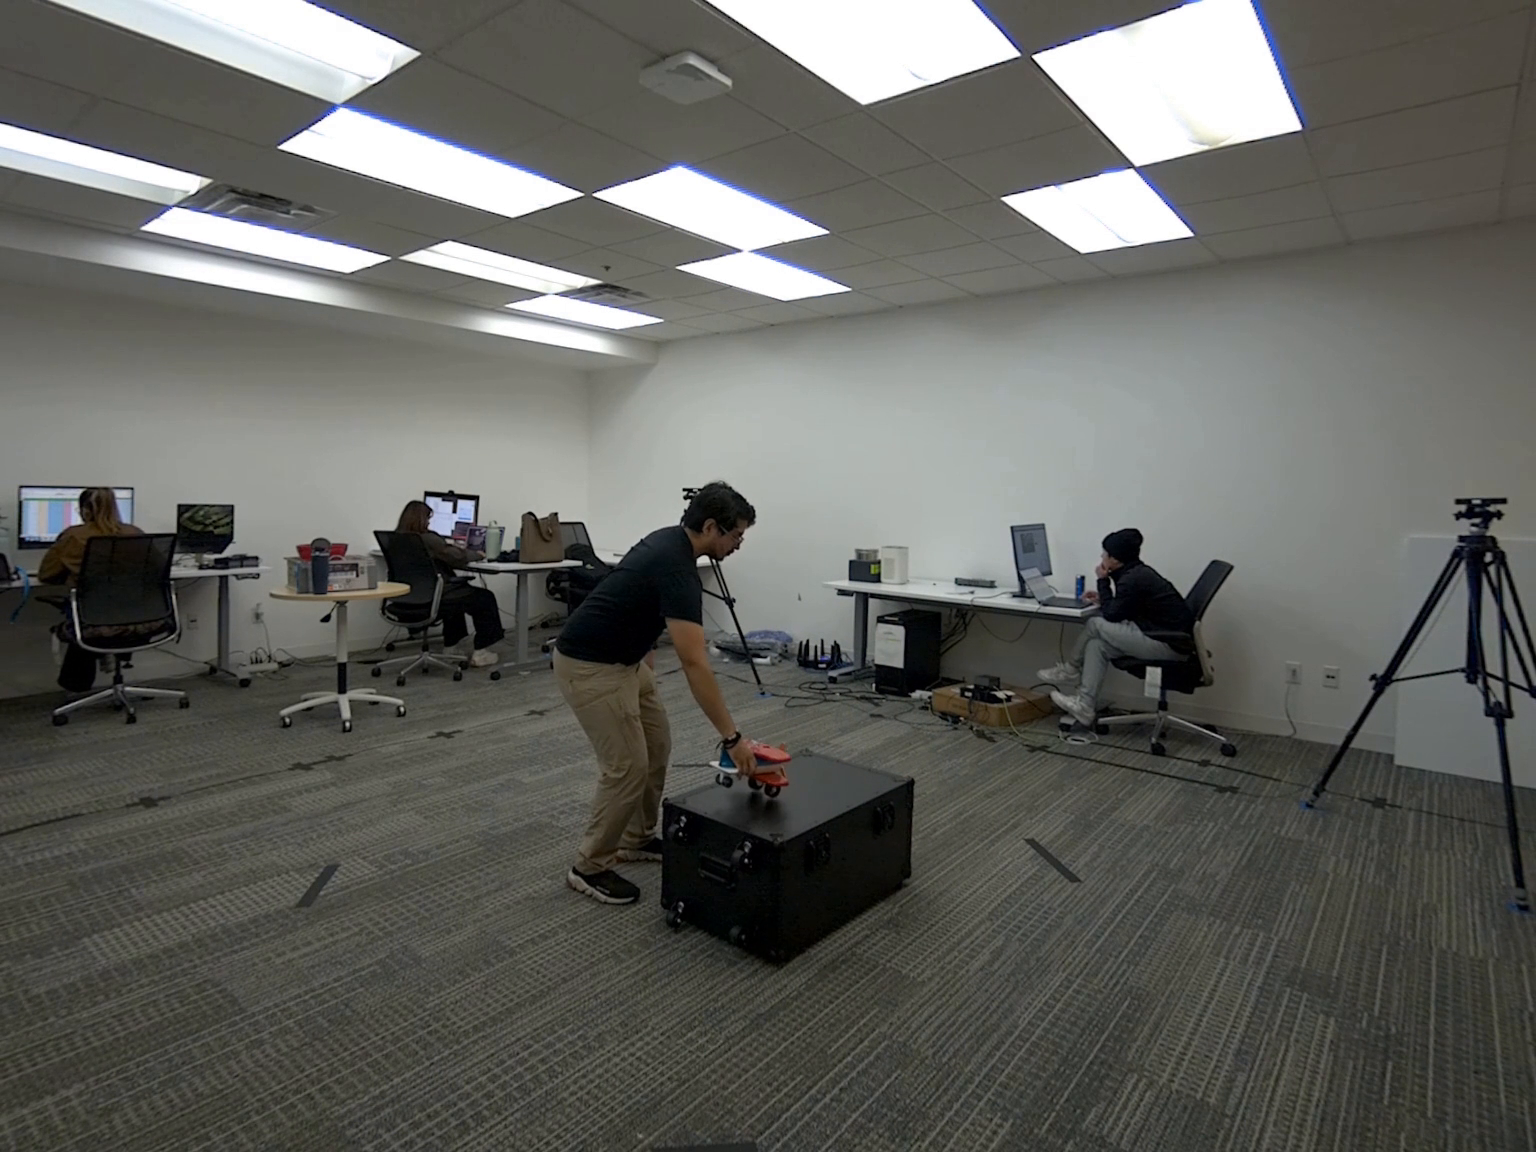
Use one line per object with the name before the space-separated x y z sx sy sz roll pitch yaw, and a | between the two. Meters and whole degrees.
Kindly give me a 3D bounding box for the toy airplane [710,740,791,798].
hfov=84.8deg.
toy airplane | -0.053 0.620 2.778 0.258 0.157 0.250 12 -9 25
